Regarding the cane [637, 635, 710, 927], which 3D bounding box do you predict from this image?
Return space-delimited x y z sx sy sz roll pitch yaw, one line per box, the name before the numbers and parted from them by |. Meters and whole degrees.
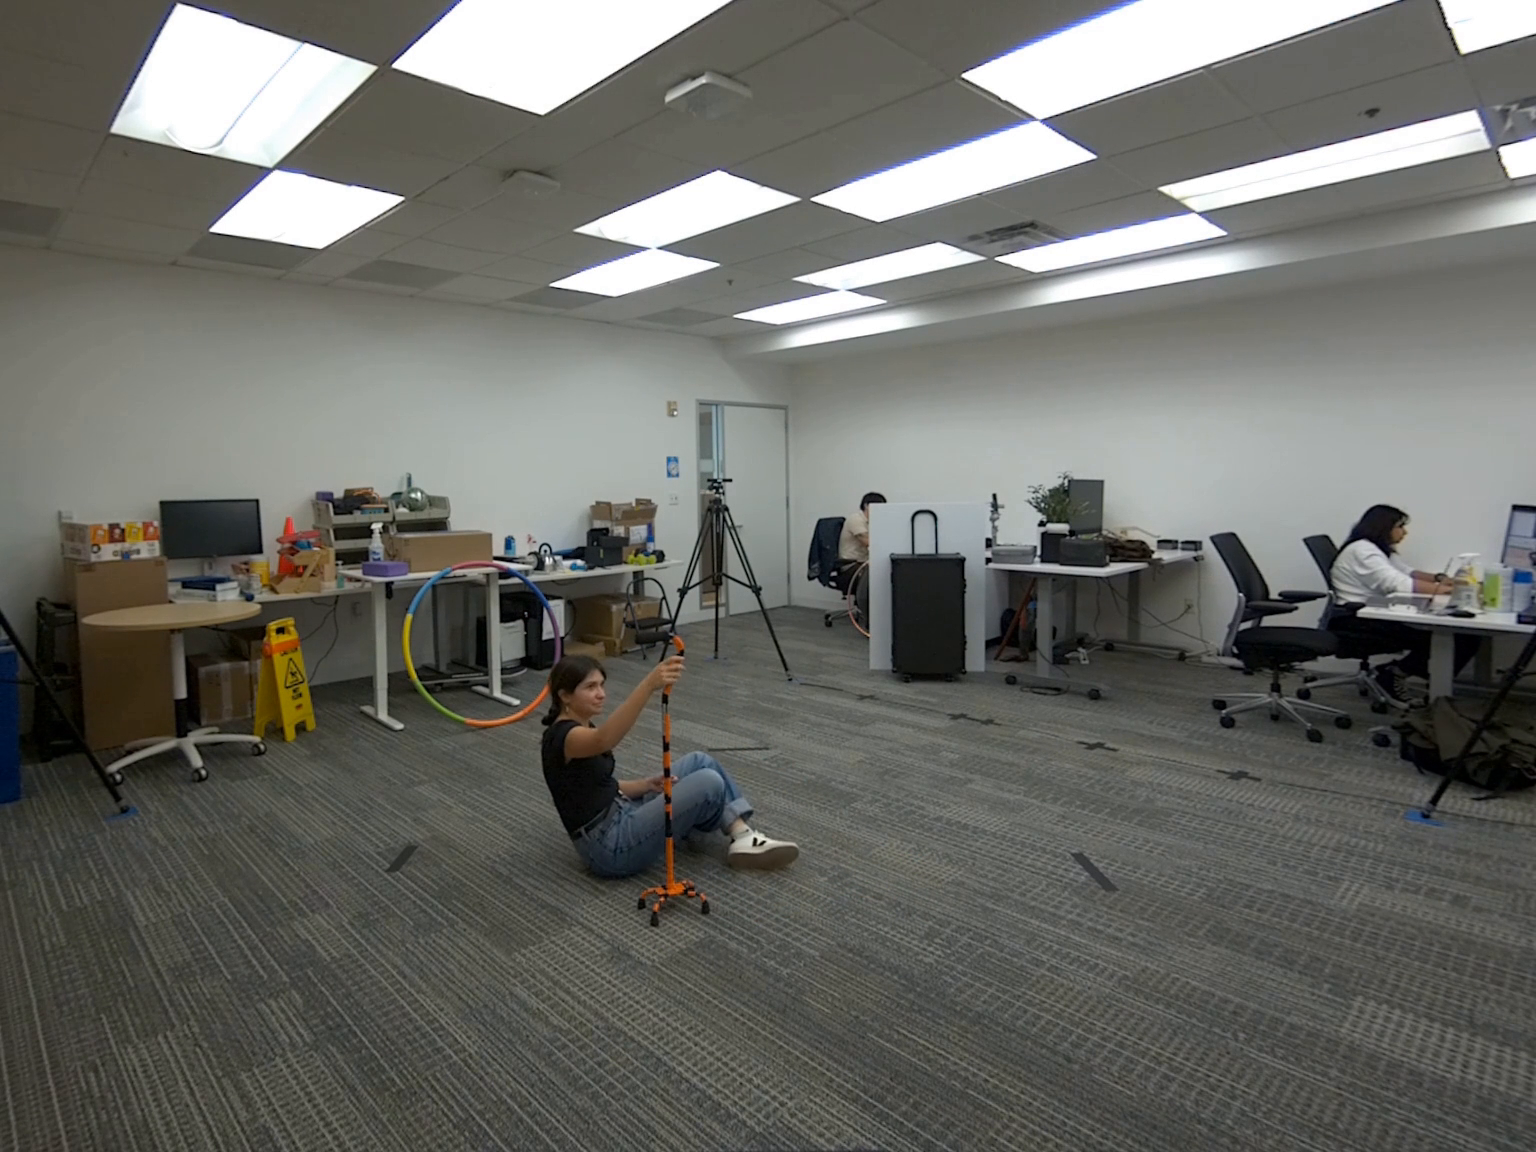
cane | -0.313 0.635 2.757 0.202 0.905 0.155 -3 3 -28
